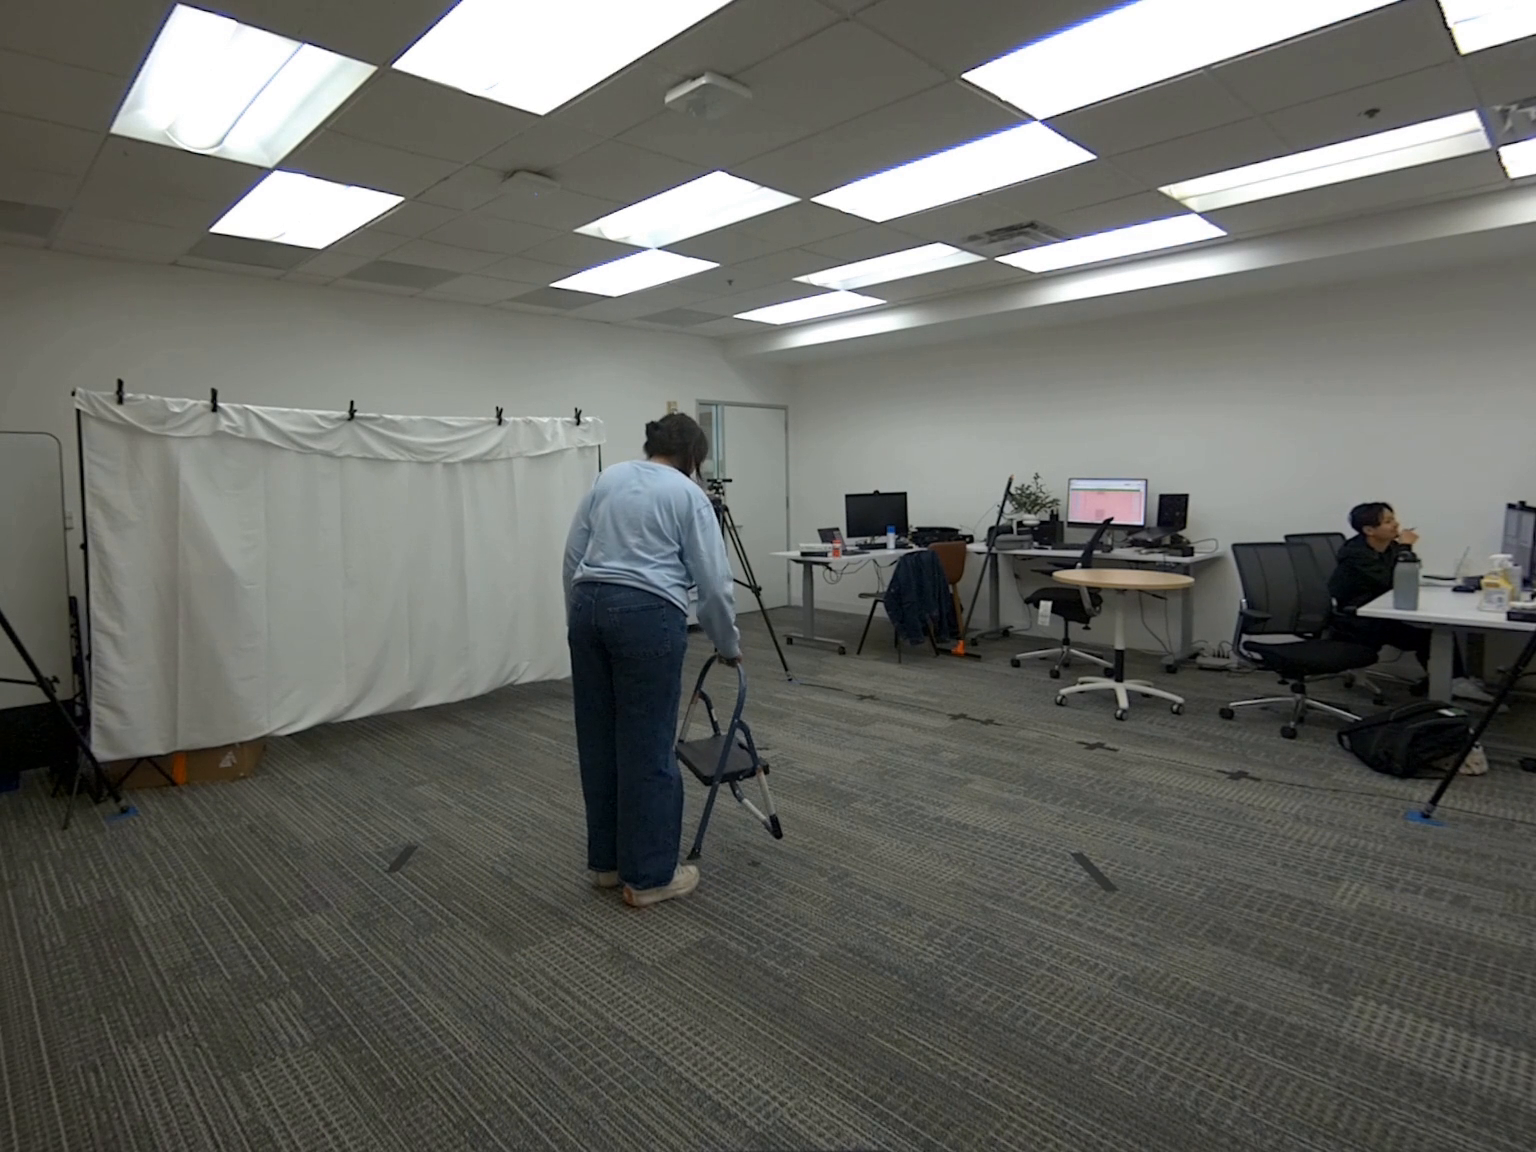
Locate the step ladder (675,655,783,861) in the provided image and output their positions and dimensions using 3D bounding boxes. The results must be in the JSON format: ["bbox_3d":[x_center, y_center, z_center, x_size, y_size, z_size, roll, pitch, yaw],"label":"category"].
[{"bbox_3d":[-0.192,0.593,3.039,0.343,0.602,0.442,-6,9,-23],"label":"step ladder"}]
